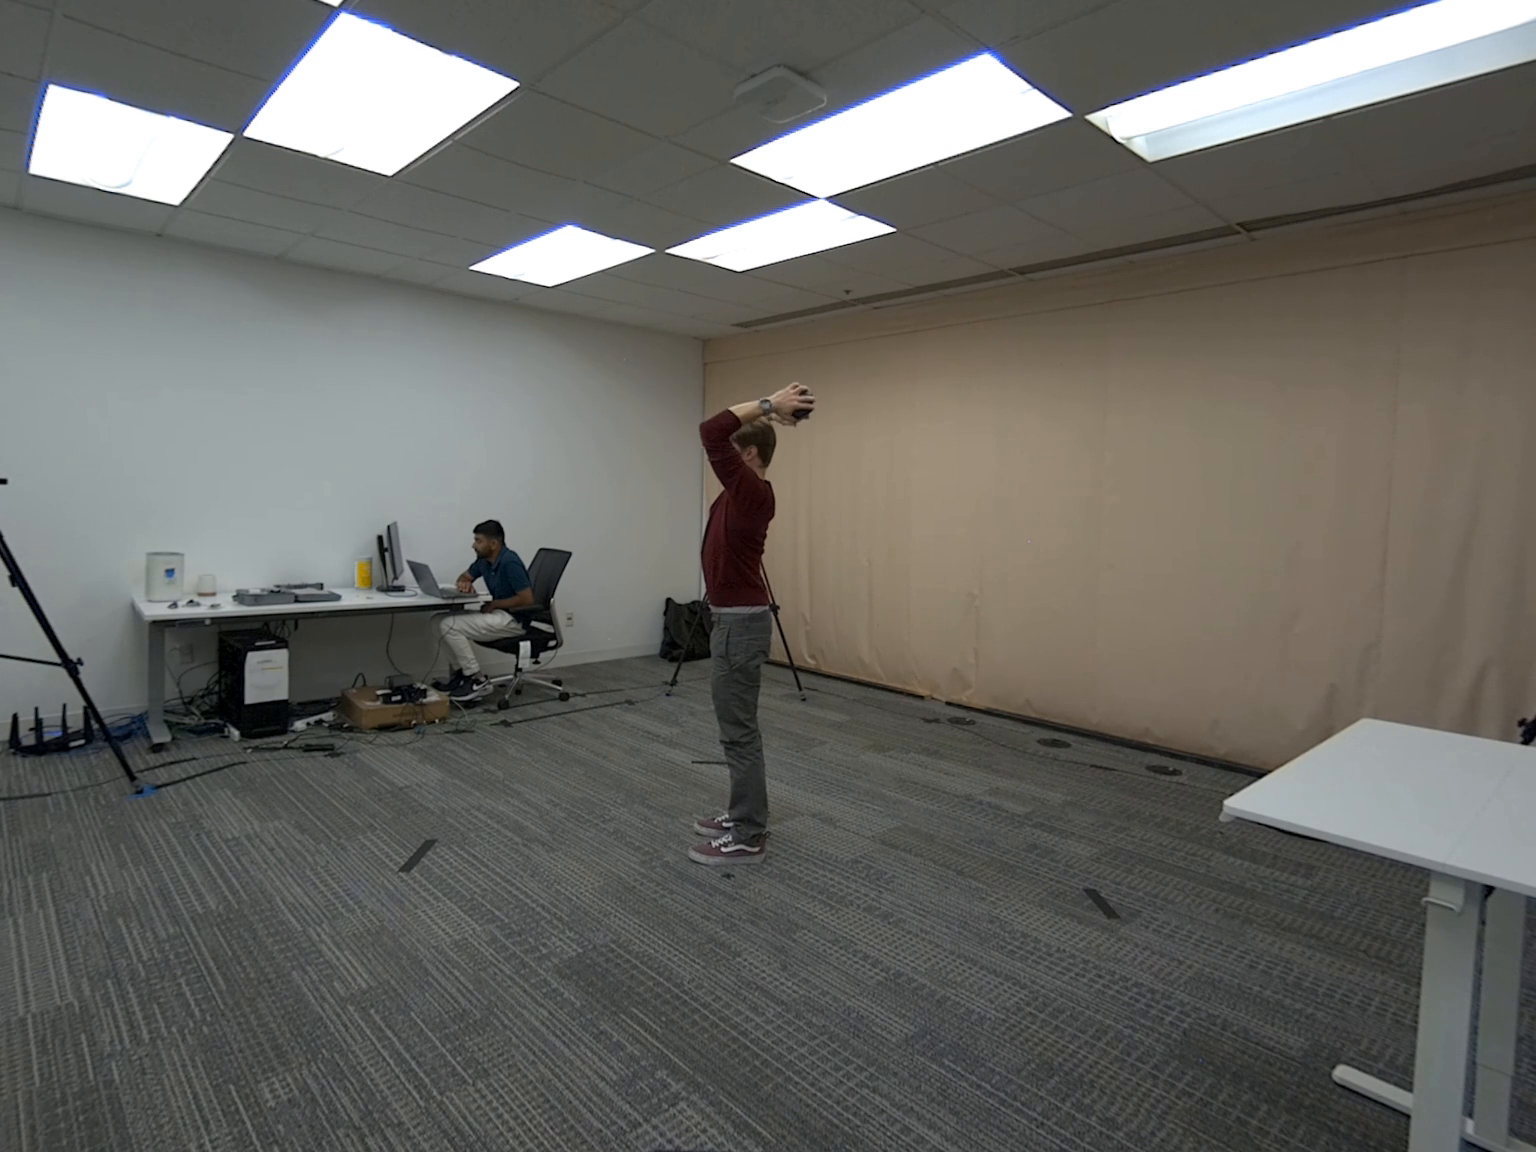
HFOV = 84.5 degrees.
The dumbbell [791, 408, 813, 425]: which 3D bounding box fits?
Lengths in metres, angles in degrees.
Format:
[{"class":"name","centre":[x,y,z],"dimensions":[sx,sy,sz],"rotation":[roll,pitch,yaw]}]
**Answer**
[{"class":"dumbbell","centre":[0.074,-0.663,3.243],"dimensions":[0.124,0.108,0.292],"rotation":[26,10,5]}]
